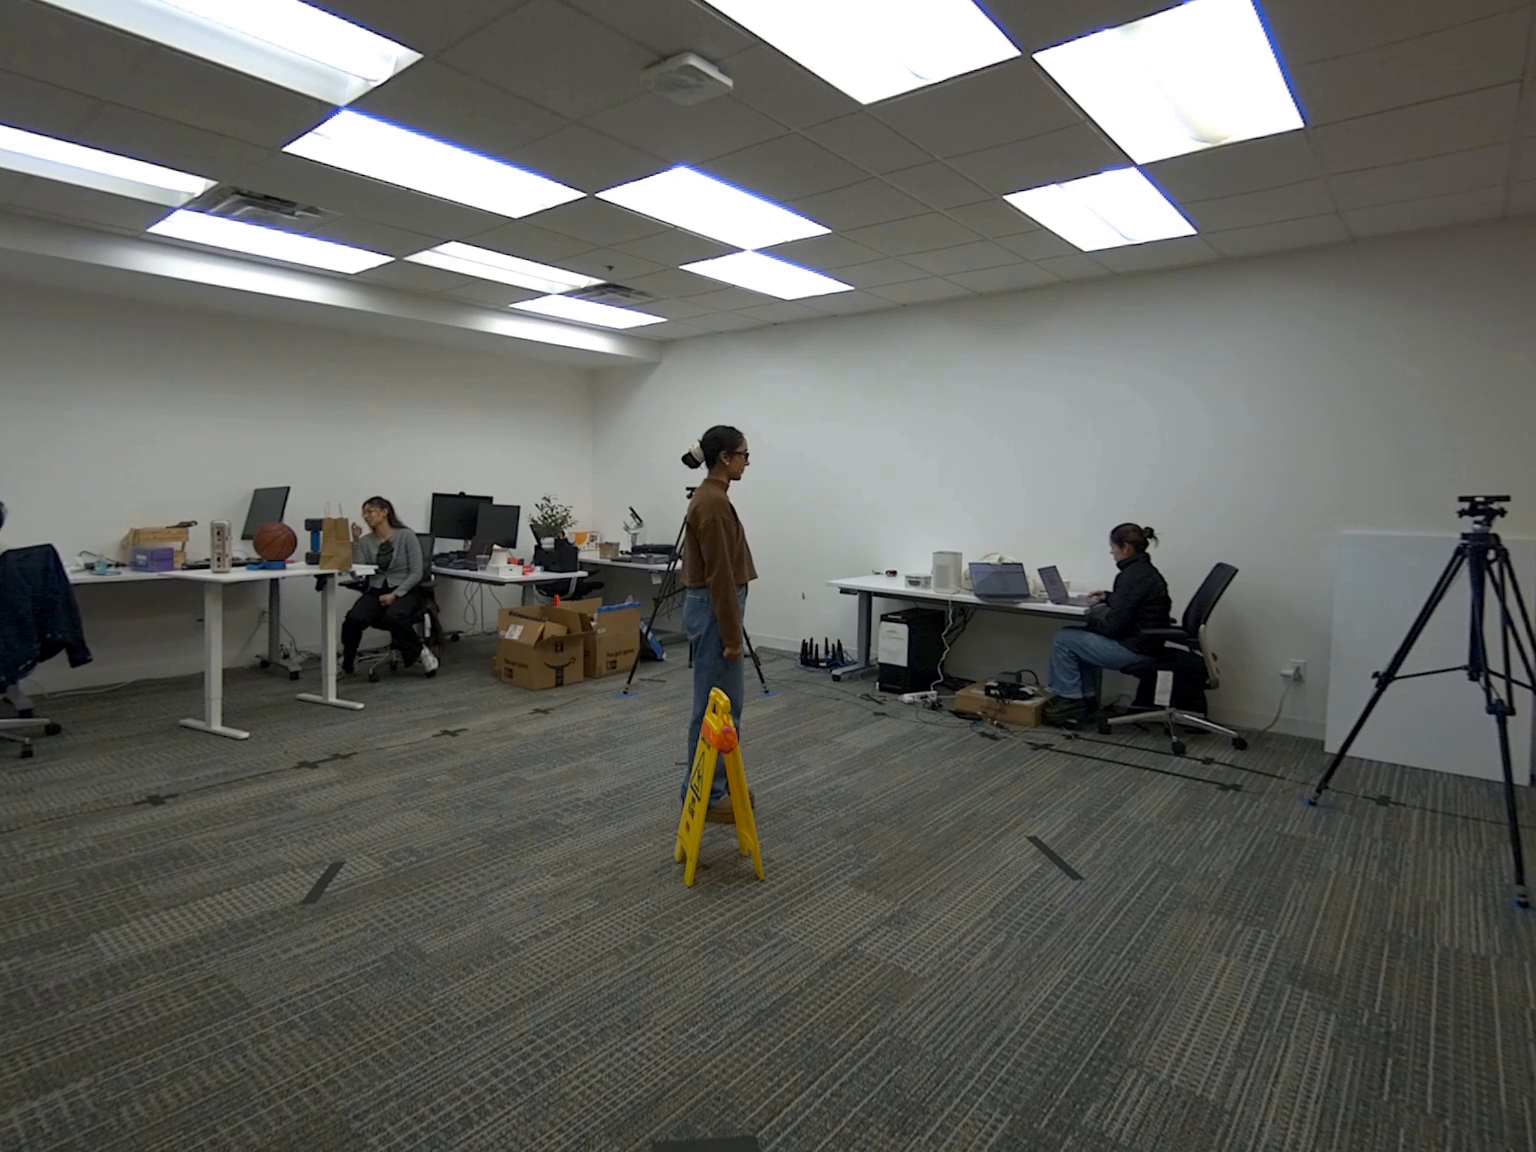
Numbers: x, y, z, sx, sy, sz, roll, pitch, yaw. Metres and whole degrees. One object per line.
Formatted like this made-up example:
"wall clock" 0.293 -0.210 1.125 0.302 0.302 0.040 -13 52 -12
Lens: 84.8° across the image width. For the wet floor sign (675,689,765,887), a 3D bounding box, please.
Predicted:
"wet floor sign" -0.188 0.740 3.099 0.285 0.644 0.288 0 4 -16
